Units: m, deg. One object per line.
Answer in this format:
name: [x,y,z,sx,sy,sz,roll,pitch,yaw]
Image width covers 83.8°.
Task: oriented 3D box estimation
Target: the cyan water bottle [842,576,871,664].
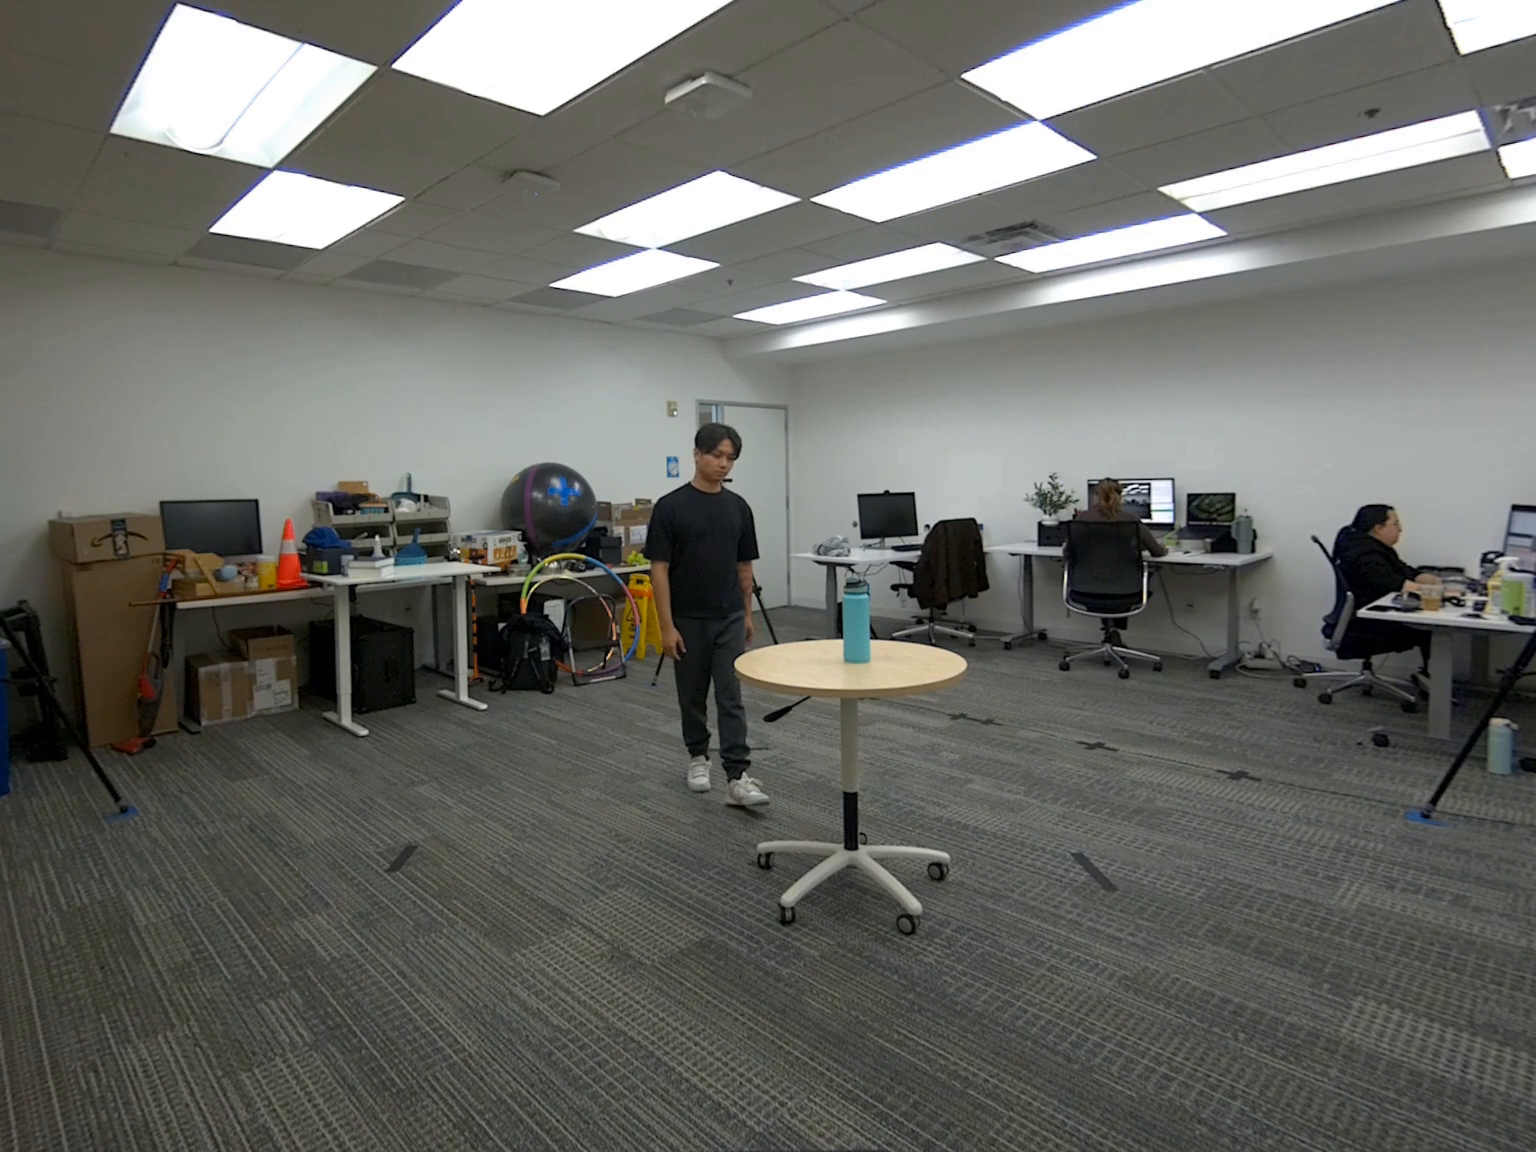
cyan water bottle: [0.304,0.145,2.854,0.092,0.283,0.092,0,2,-2]
